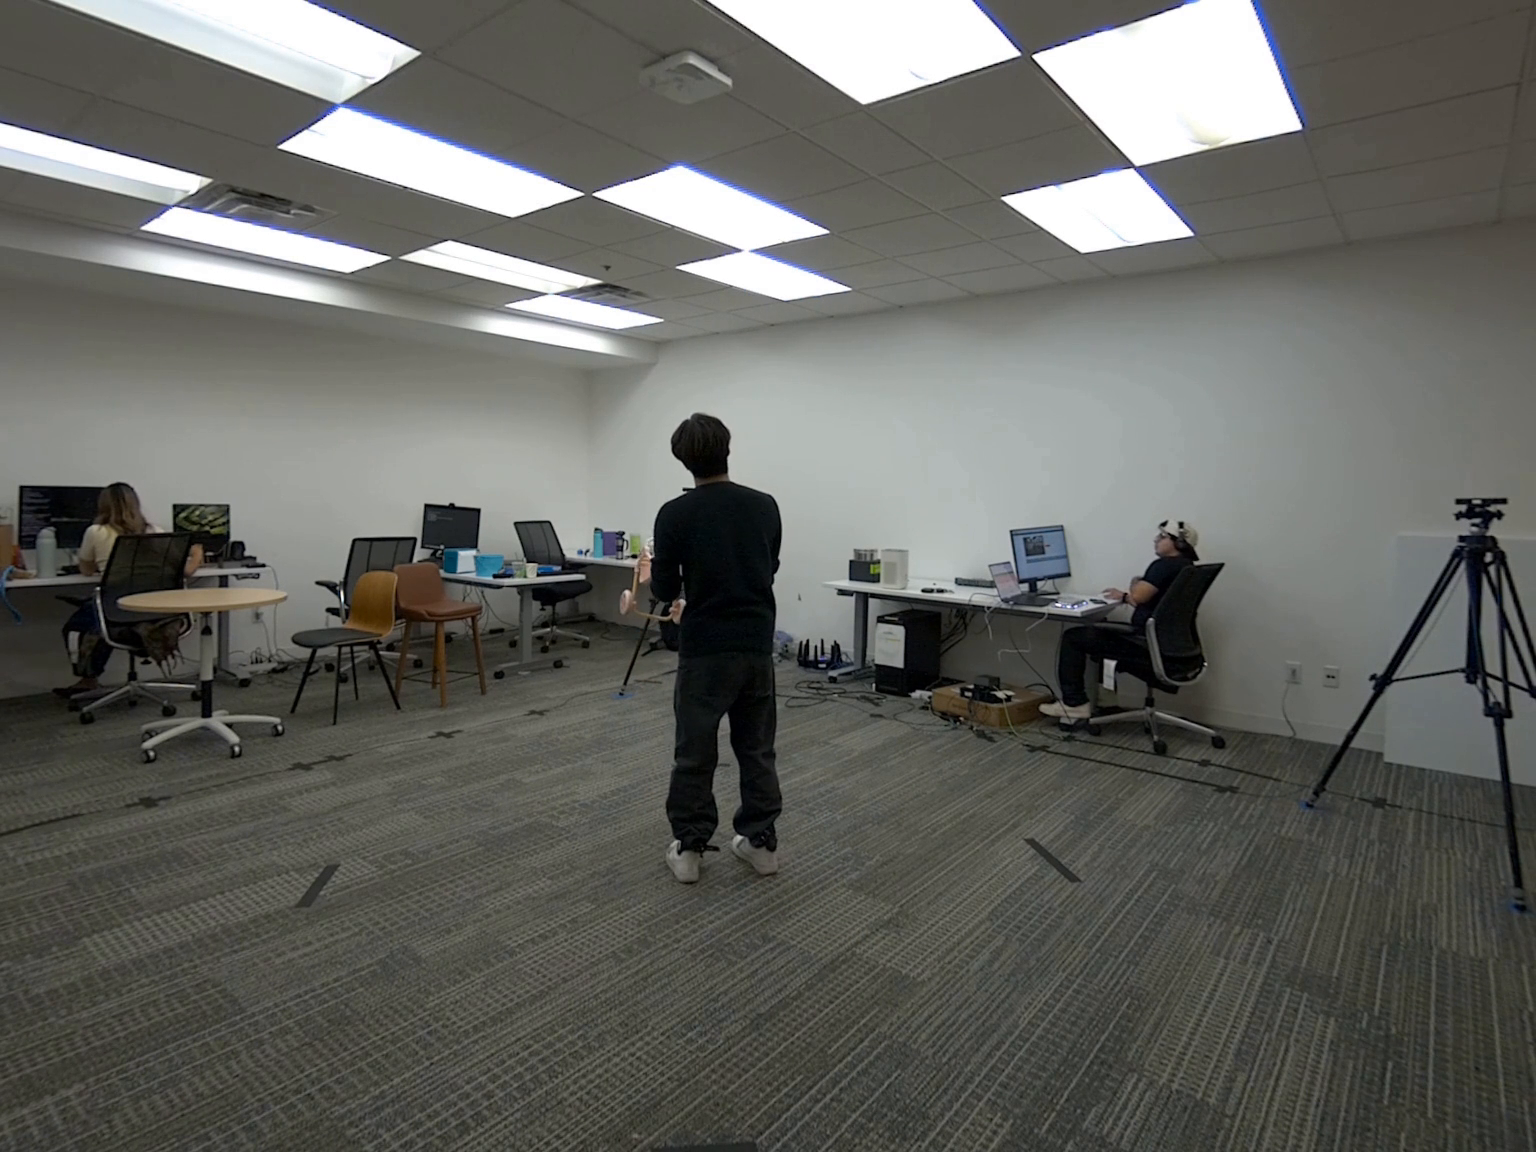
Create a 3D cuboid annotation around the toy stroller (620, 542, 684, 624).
[{"bbox_3d":[-0.439,-0.019,3.646,0.275,0.349,0.535,15,-31,-20],"label":"toy stroller"}]
